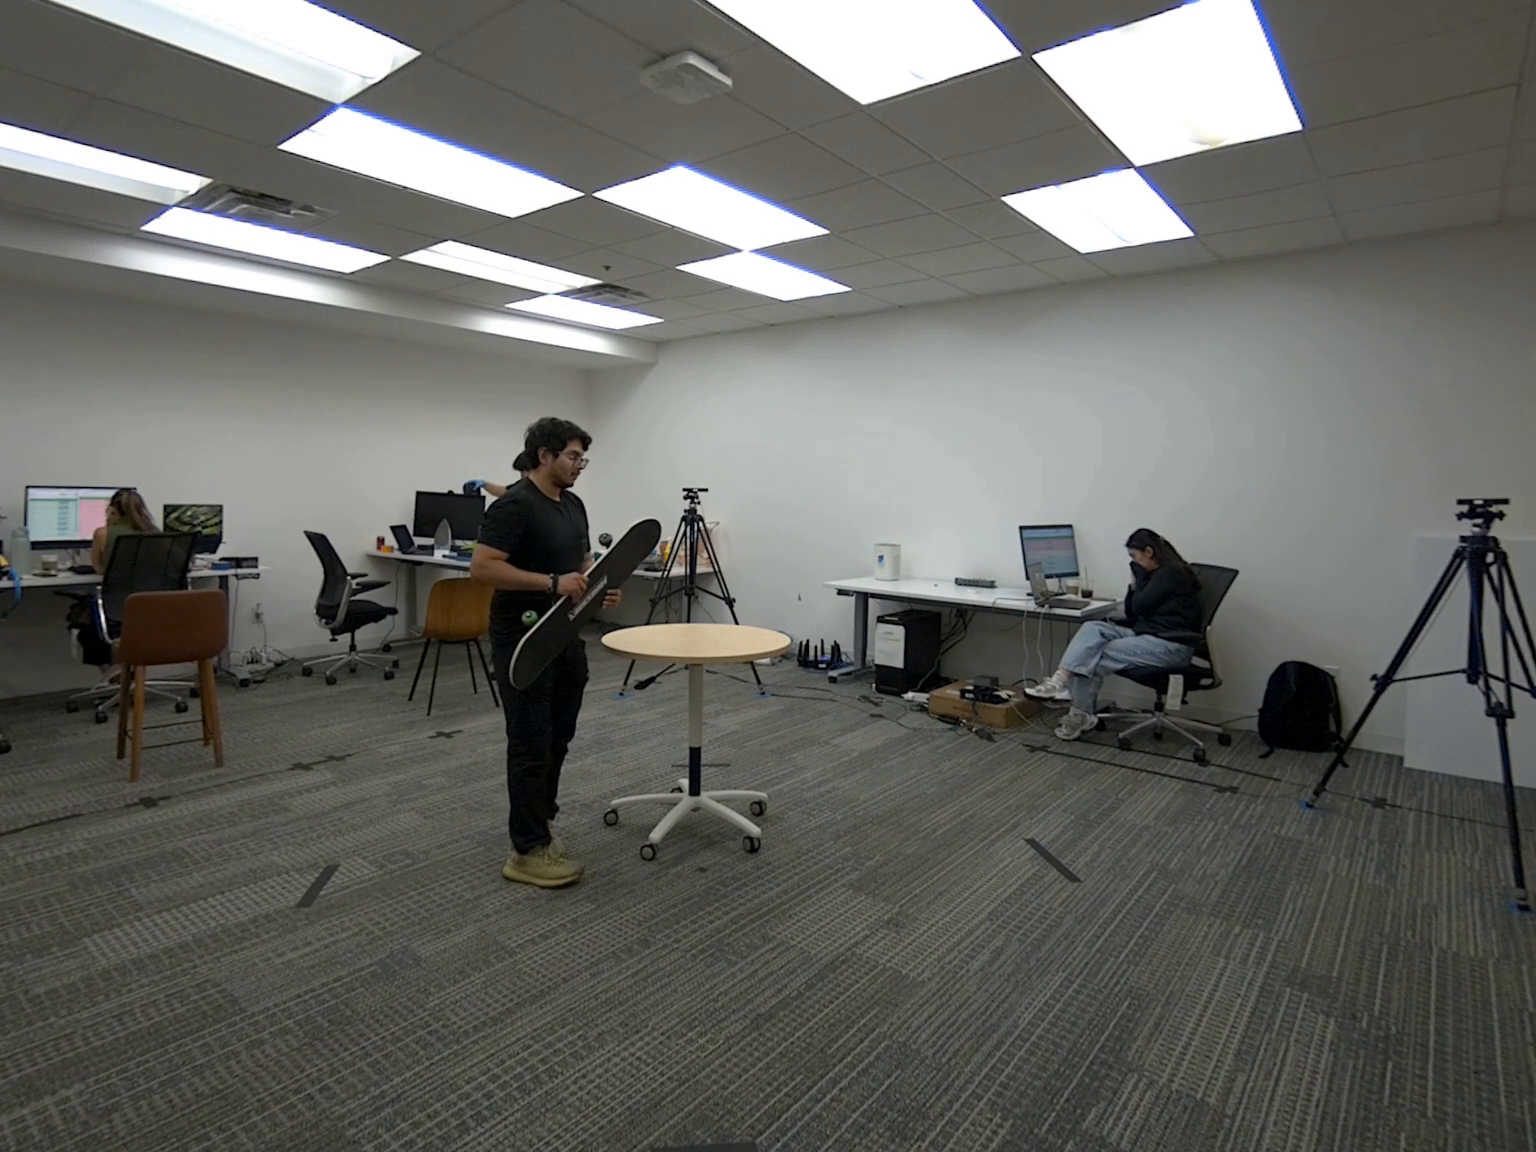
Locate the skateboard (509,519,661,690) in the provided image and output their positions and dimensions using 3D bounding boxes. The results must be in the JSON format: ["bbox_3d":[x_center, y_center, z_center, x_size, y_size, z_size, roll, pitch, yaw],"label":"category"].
[{"bbox_3d":[-0.676,0.059,2.997,0.114,0.786,0.187,25,-30,25],"label":"skateboard"}]
